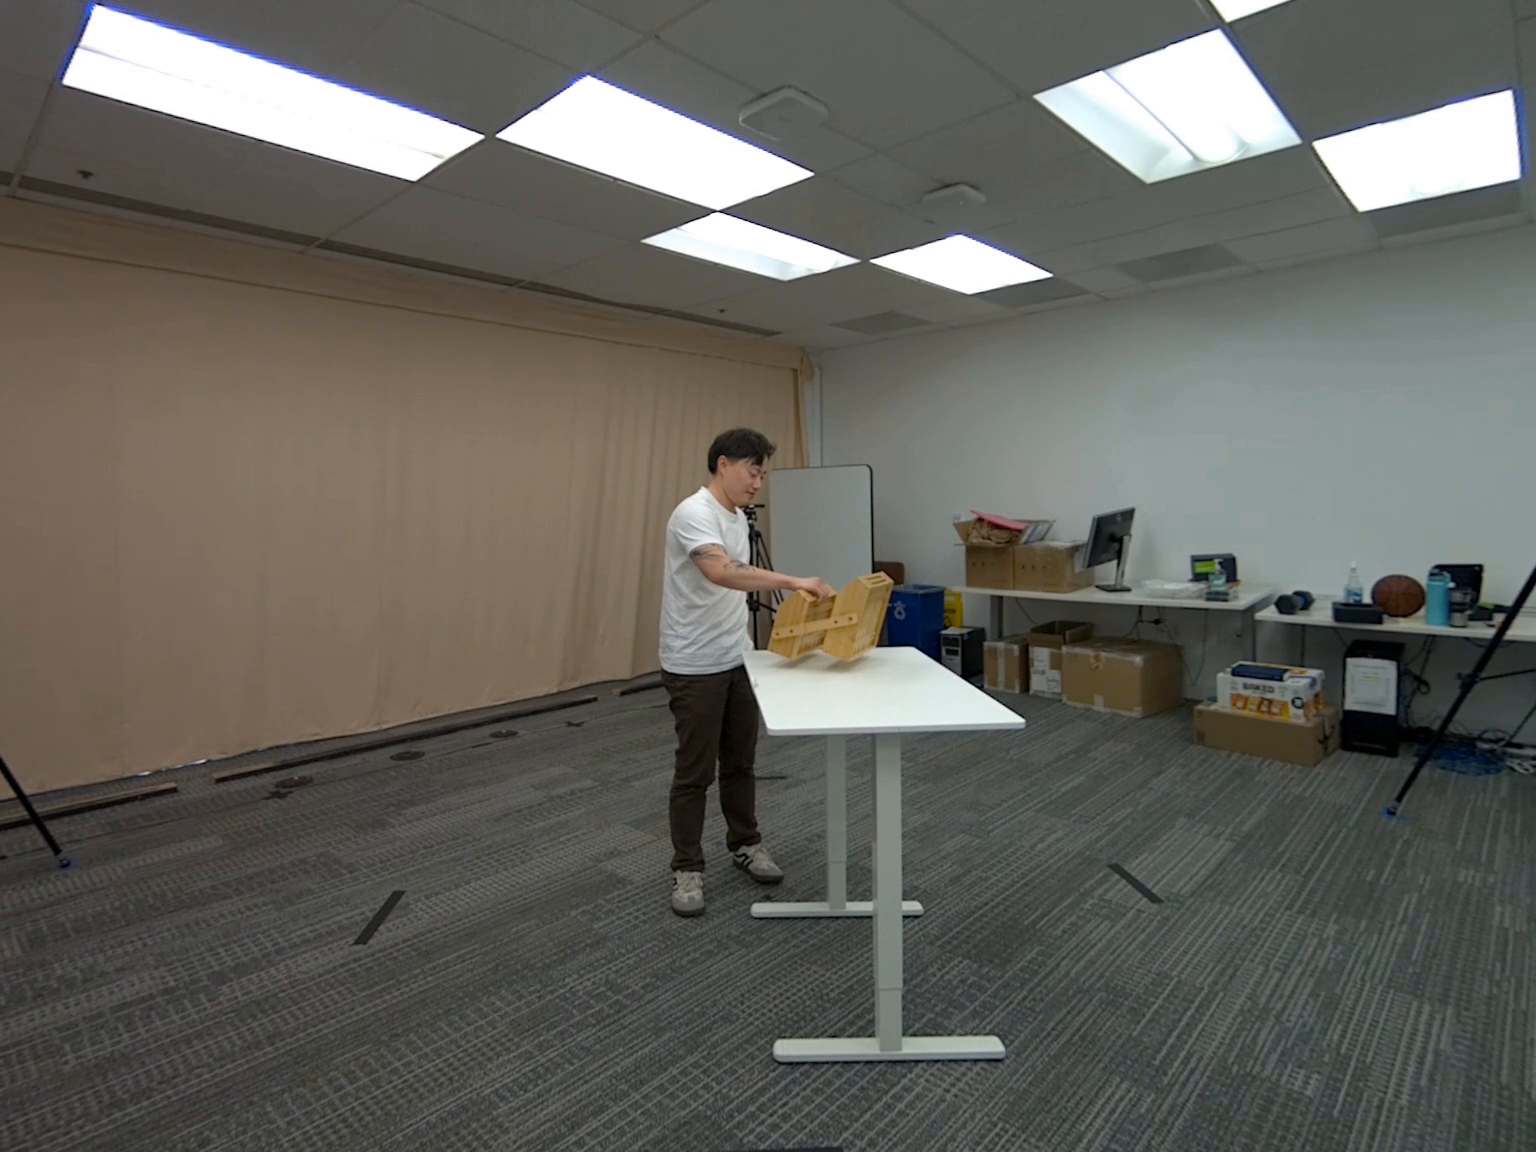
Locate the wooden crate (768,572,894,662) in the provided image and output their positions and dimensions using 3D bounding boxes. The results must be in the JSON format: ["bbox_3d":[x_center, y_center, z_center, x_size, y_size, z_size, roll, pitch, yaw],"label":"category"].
[{"bbox_3d":[0.208,0.116,2.672,0.280,0.301,0.317,17,9,21],"label":"wooden crate"}]
